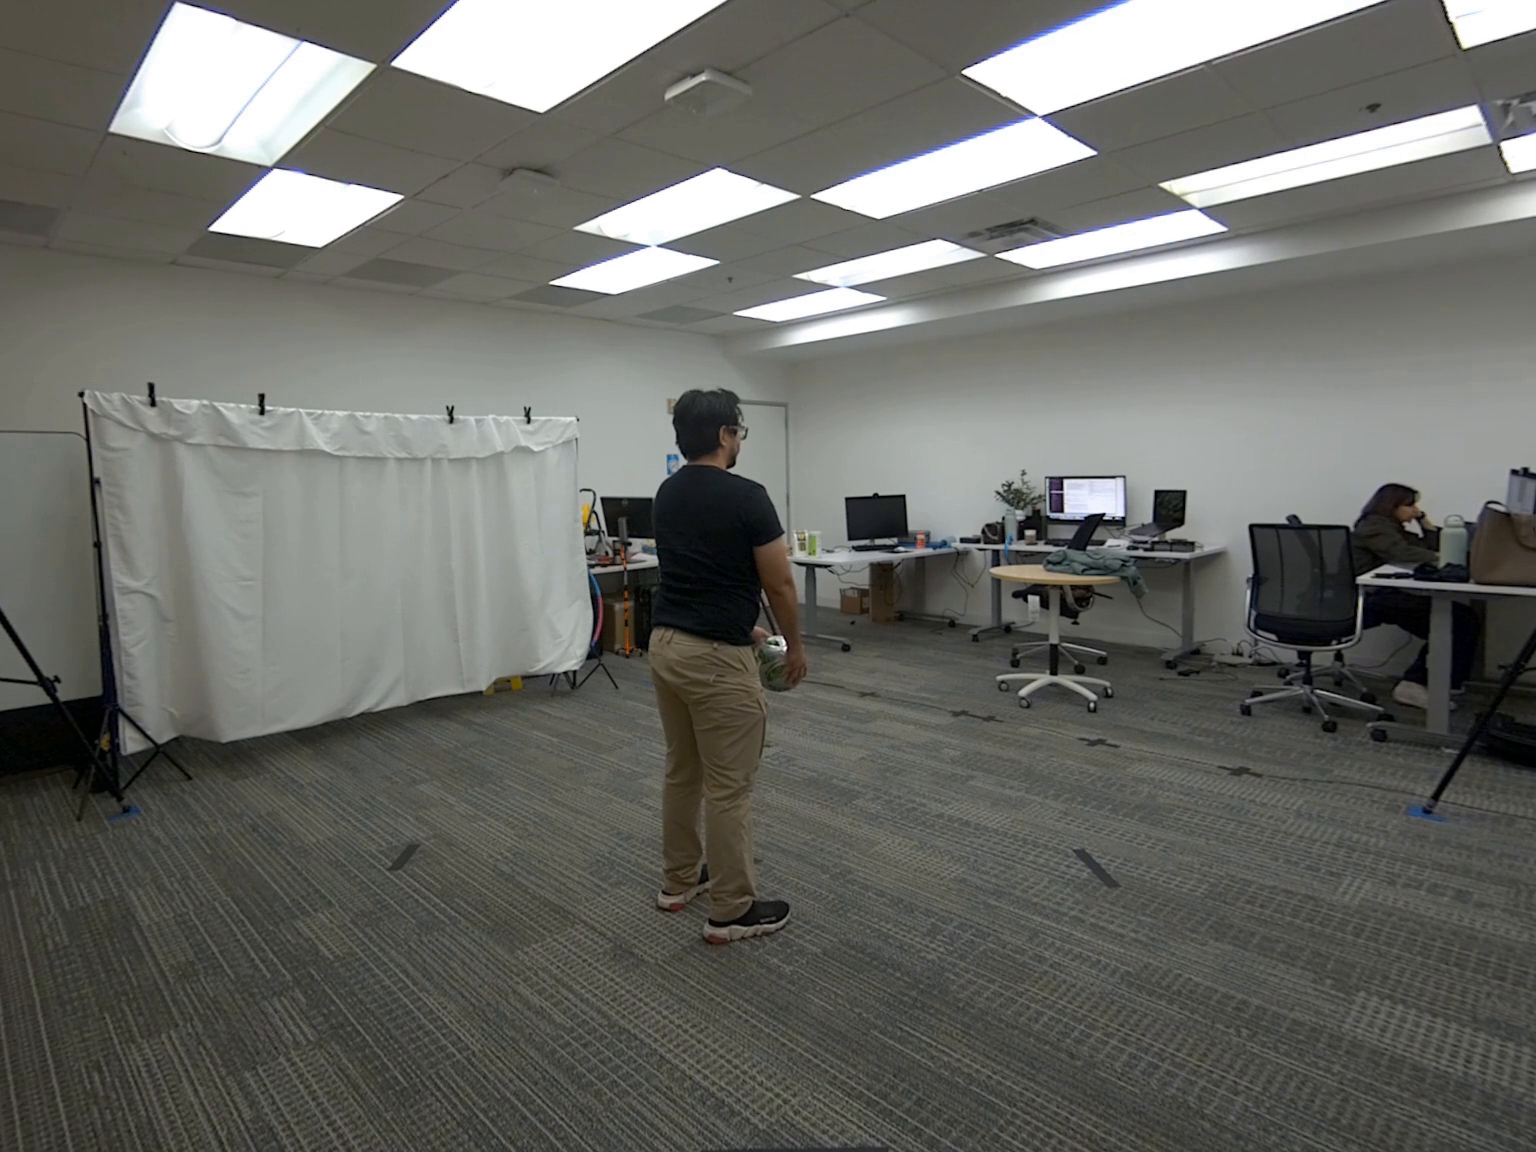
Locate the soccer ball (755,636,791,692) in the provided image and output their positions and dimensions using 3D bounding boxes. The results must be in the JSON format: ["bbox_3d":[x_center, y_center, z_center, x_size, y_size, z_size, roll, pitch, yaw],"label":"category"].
[{"bbox_3d":[0.041,0.294,2.865,0.187,0.187,0.188,-1,5,-2],"label":"soccer ball"}]
